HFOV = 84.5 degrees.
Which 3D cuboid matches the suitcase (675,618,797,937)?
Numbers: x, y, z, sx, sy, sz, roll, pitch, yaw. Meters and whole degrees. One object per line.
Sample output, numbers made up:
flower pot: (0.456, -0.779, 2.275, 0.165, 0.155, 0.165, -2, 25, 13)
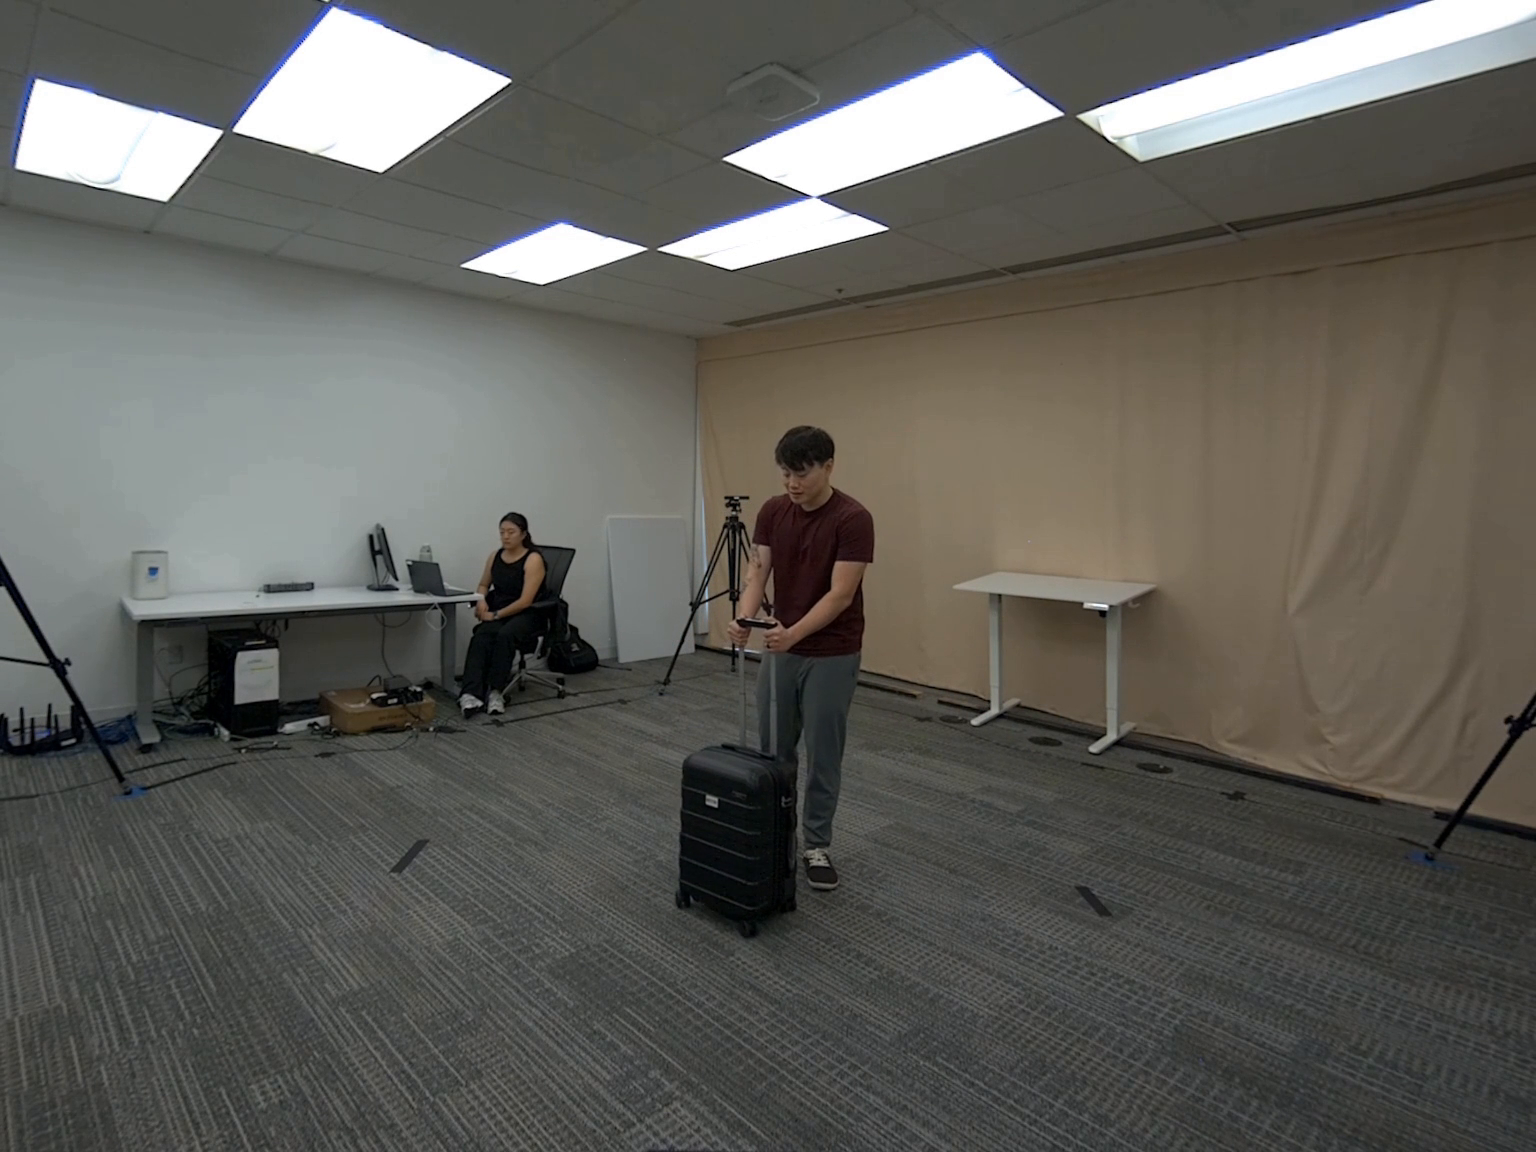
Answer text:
suitcase: (-0.107, 0.659, 2.789, 0.394, 0.974, 0.252, 6, 8, 37)
